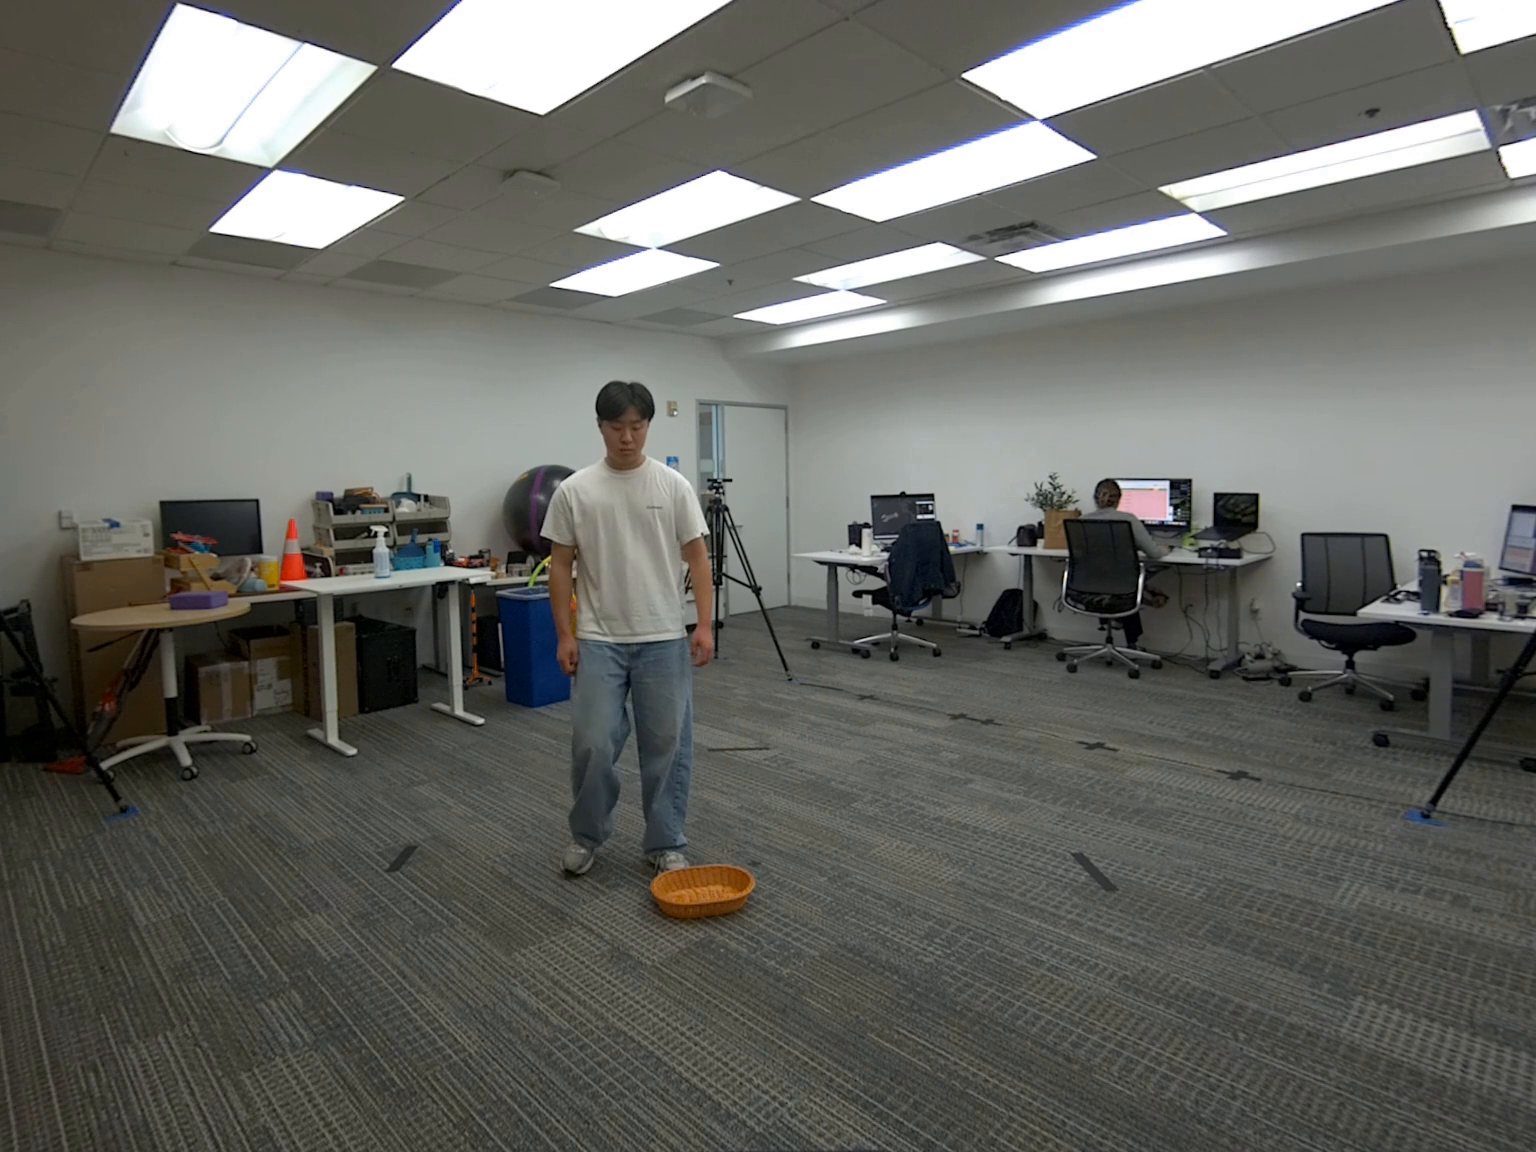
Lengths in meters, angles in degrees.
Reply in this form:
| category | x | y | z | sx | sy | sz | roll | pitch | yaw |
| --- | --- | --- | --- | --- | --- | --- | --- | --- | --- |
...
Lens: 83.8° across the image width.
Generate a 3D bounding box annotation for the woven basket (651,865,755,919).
| category | x | y | z | sx | sy | sz | roll | pitch | yaw |
| --- | --- | --- | --- | --- | --- | --- | --- | --- | --- |
| woven basket | -0.214 | 1.038 | 2.819 | 0.347 | 0.073 | 0.256 | -2 | 6 | -10 |
